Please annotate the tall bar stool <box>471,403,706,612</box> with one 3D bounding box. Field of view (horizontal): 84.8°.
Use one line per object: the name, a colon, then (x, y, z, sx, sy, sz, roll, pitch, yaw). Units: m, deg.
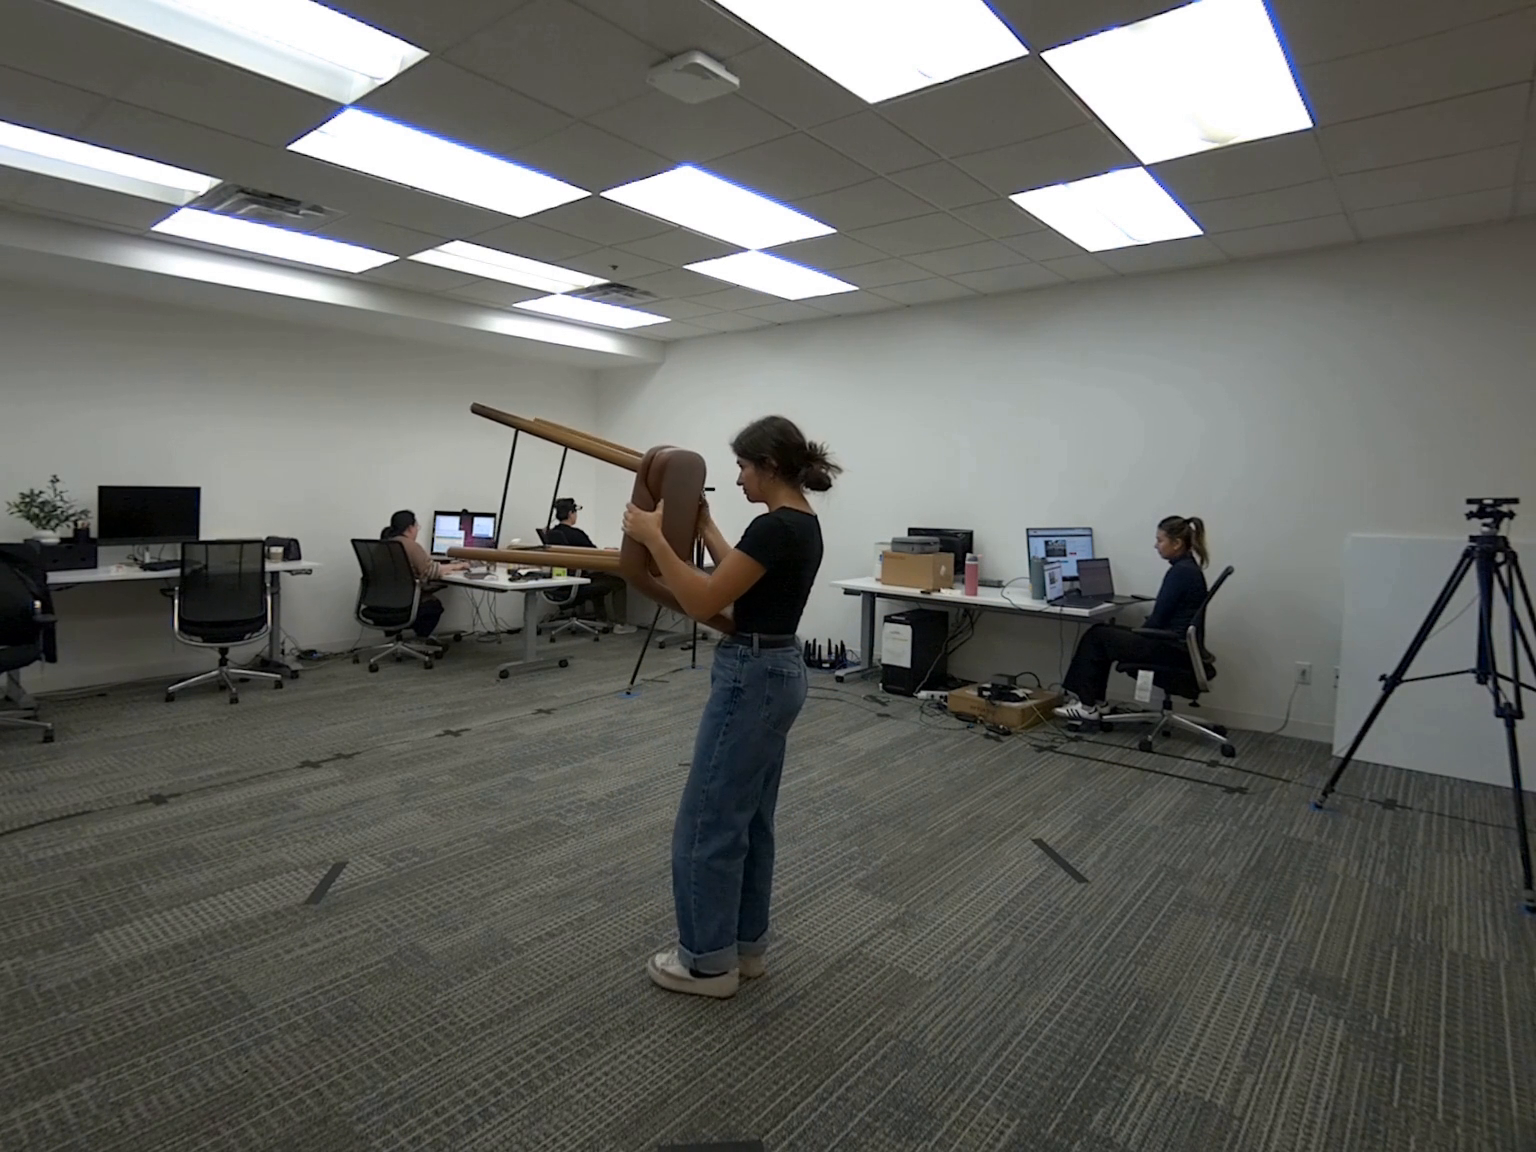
tall bar stool: (-0.436, -0.176, 2.508, 0.907, 0.466, 0.450, 16, 6, 14)
